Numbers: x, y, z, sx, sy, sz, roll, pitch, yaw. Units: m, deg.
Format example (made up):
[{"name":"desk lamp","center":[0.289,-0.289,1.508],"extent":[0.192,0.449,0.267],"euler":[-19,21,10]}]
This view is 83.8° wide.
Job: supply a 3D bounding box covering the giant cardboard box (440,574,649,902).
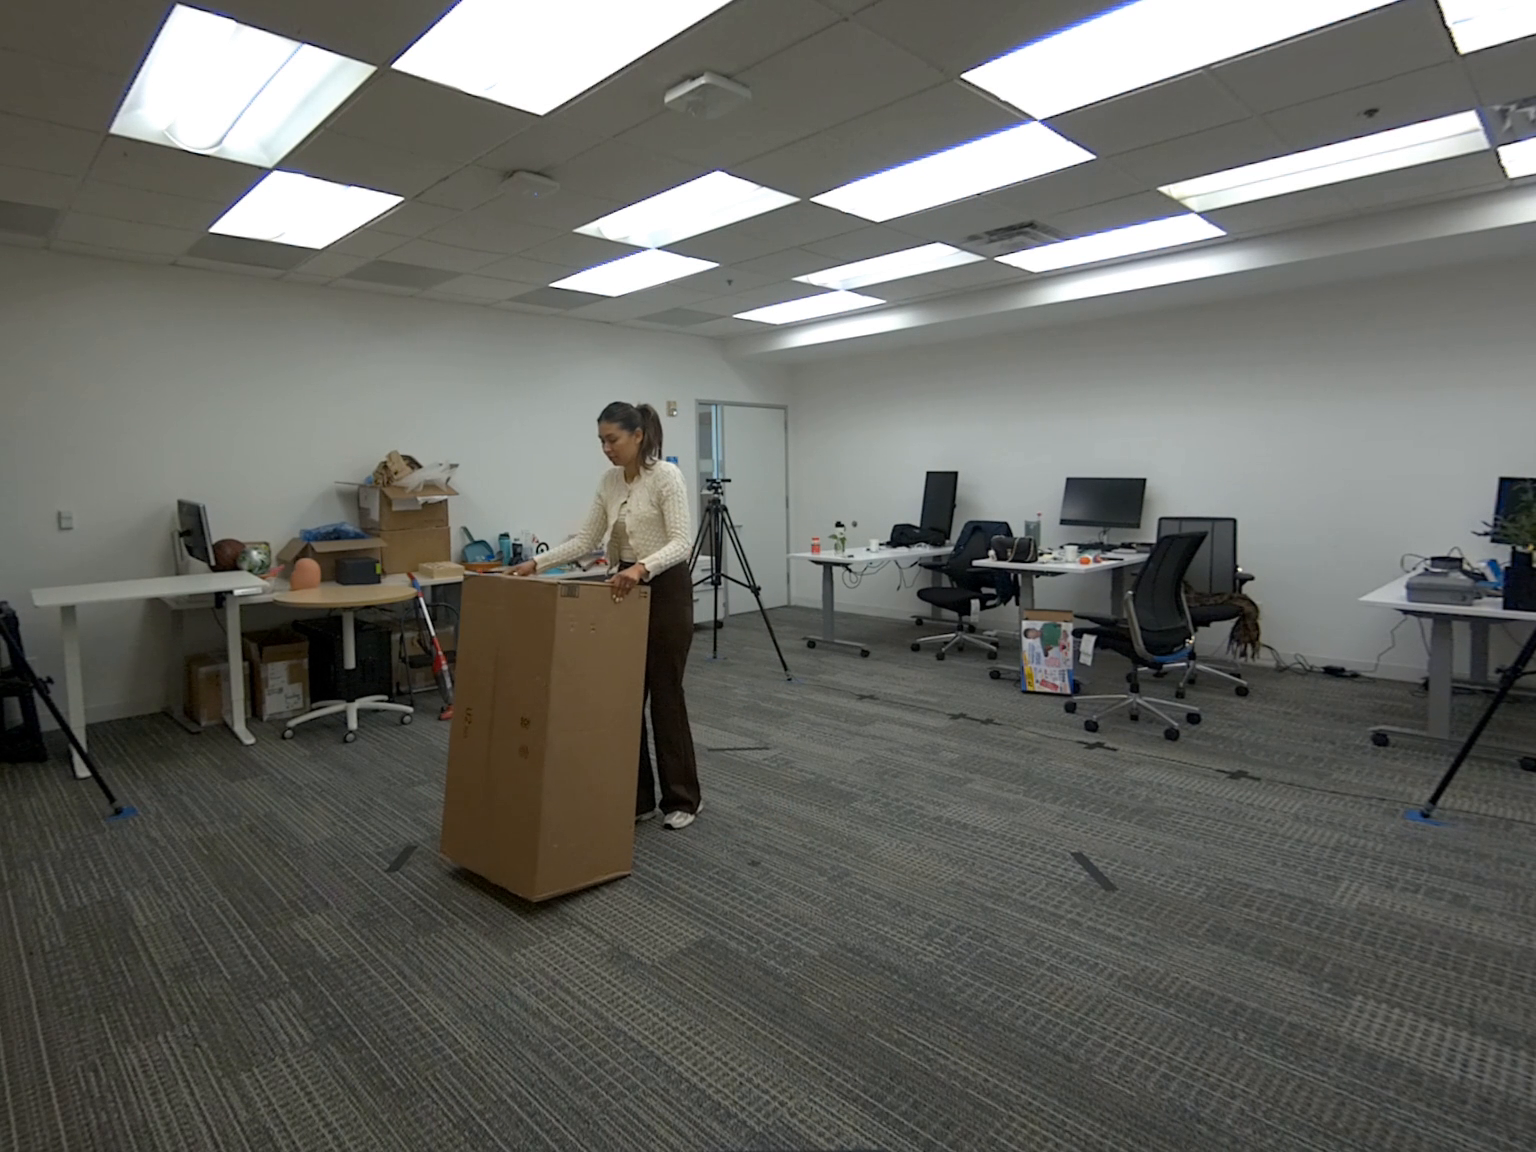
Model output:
[{"name":"giant cardboard box","center":[-0.807,0.526,3.087],"extent":[0.594,1.028,0.413],"euler":[1,-3,40]}]
